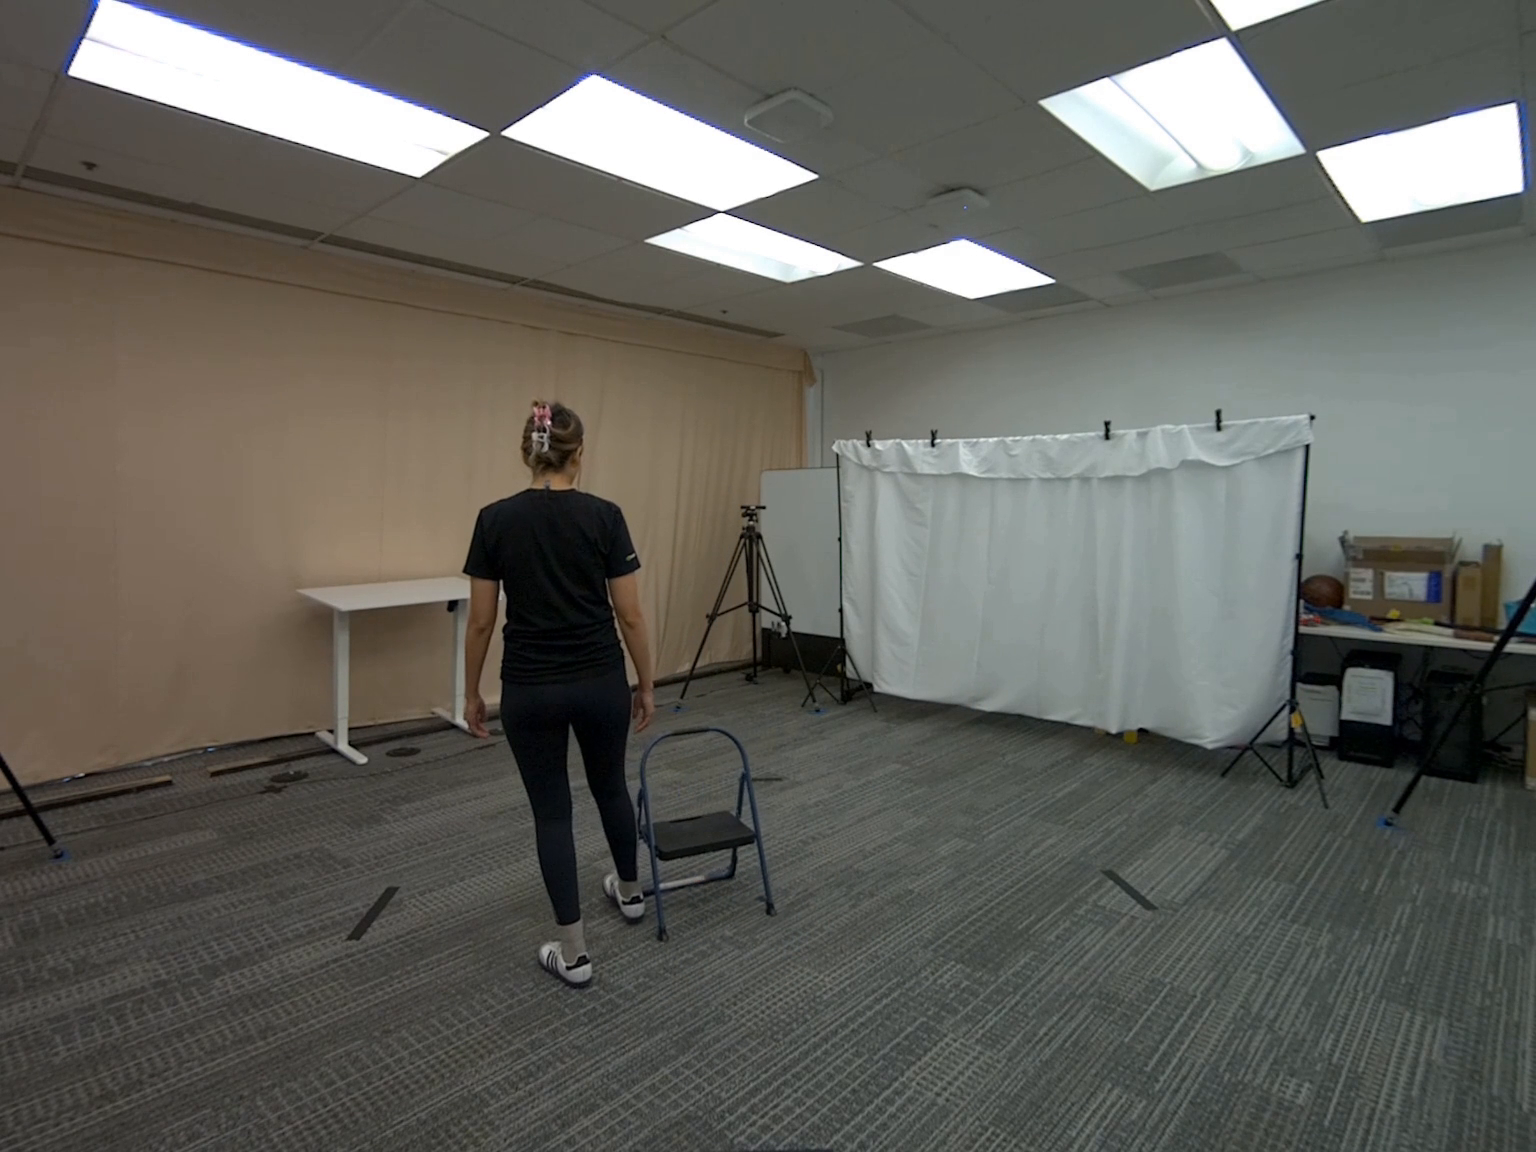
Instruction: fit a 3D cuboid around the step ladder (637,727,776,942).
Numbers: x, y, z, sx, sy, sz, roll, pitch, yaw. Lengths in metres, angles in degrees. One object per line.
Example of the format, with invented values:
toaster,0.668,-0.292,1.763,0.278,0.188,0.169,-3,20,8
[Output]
step ladder,-0.233,0.847,2.924,0.420,0.605,0.358,-2,4,-26
